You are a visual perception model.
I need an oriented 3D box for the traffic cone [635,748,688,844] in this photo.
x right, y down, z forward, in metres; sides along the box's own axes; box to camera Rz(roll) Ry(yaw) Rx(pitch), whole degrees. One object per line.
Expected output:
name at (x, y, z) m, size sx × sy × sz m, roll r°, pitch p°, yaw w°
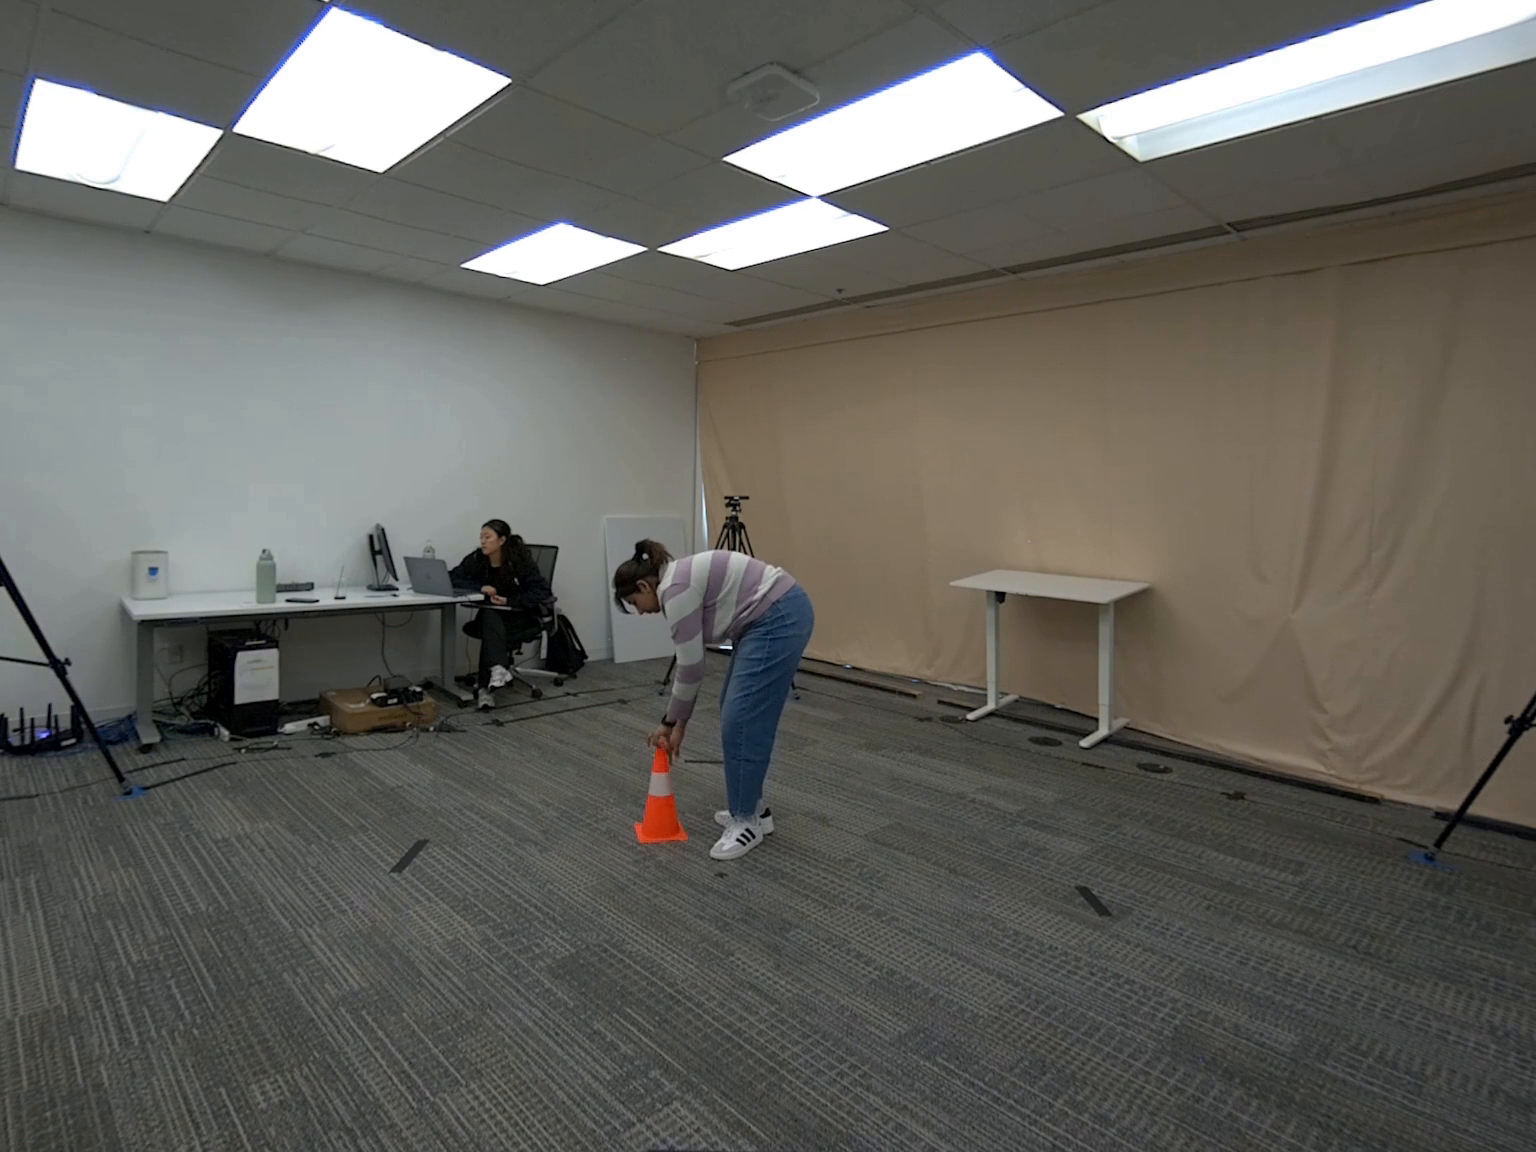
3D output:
traffic cone at (-0.446, 0.874, 3.492) m, size 0.201 × 0.383 × 0.207 m, roll 1°, pitch 1°, yaw -14°
